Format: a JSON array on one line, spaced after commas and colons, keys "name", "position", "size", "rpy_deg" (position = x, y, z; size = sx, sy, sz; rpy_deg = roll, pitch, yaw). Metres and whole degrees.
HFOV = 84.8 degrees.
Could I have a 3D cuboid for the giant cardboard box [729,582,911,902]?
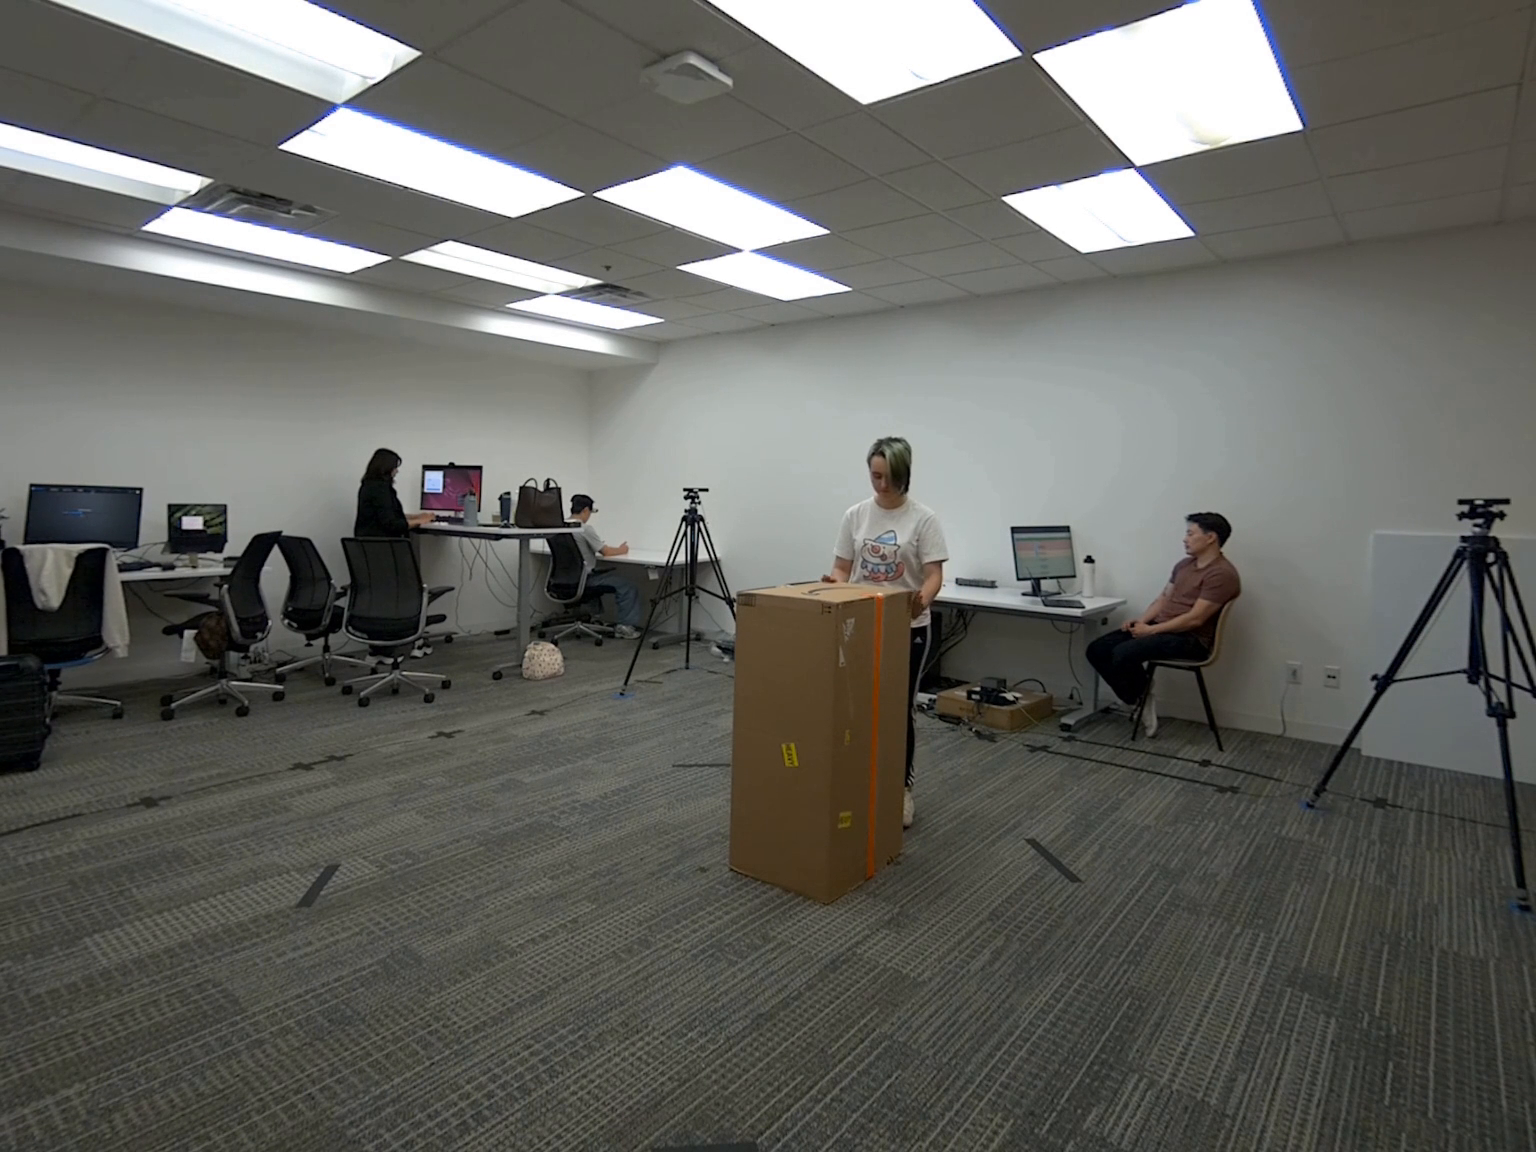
[{"name": "giant cardboard box", "position": [0.198, 0.564, 3.179], "size": [0.461, 1.025, 0.567], "rpy_deg": [2, 3, 36]}]
